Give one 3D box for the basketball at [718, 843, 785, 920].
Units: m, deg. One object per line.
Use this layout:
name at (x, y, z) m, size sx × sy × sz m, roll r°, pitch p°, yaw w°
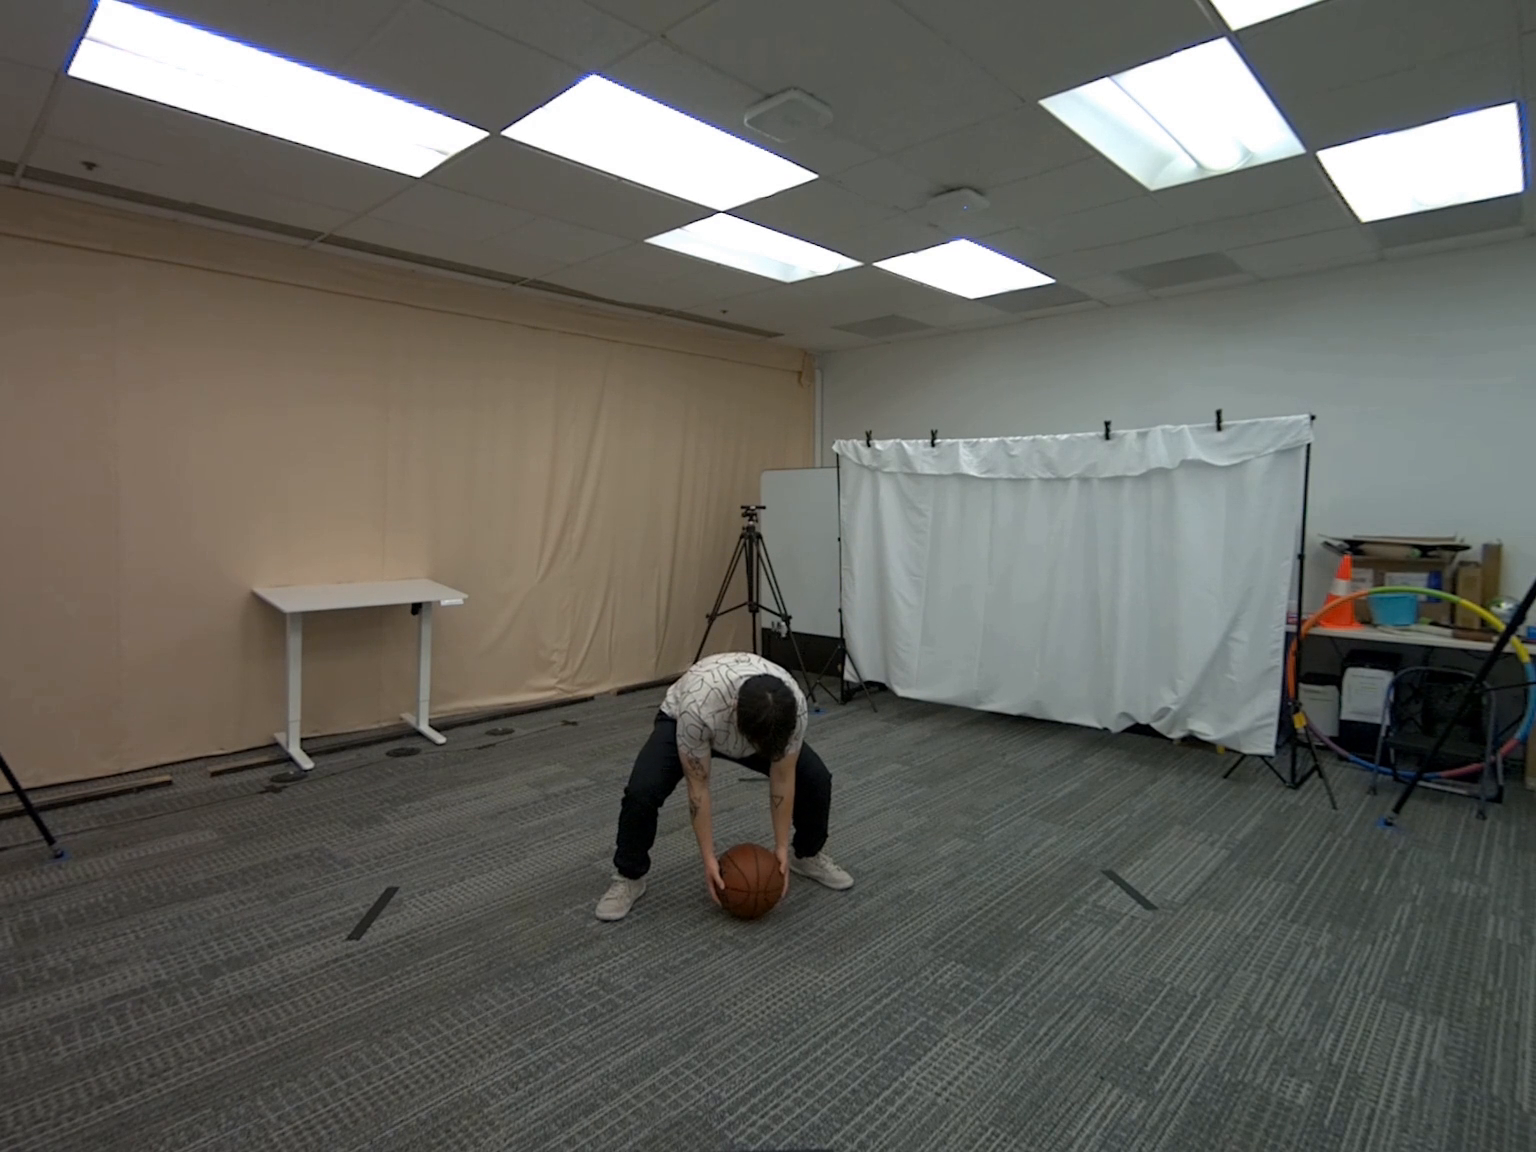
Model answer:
basketball at (-0.066, 1.029, 2.859) m, size 0.236 × 0.235 × 0.237 m, roll 0°, pitch 4°, yaw -2°
